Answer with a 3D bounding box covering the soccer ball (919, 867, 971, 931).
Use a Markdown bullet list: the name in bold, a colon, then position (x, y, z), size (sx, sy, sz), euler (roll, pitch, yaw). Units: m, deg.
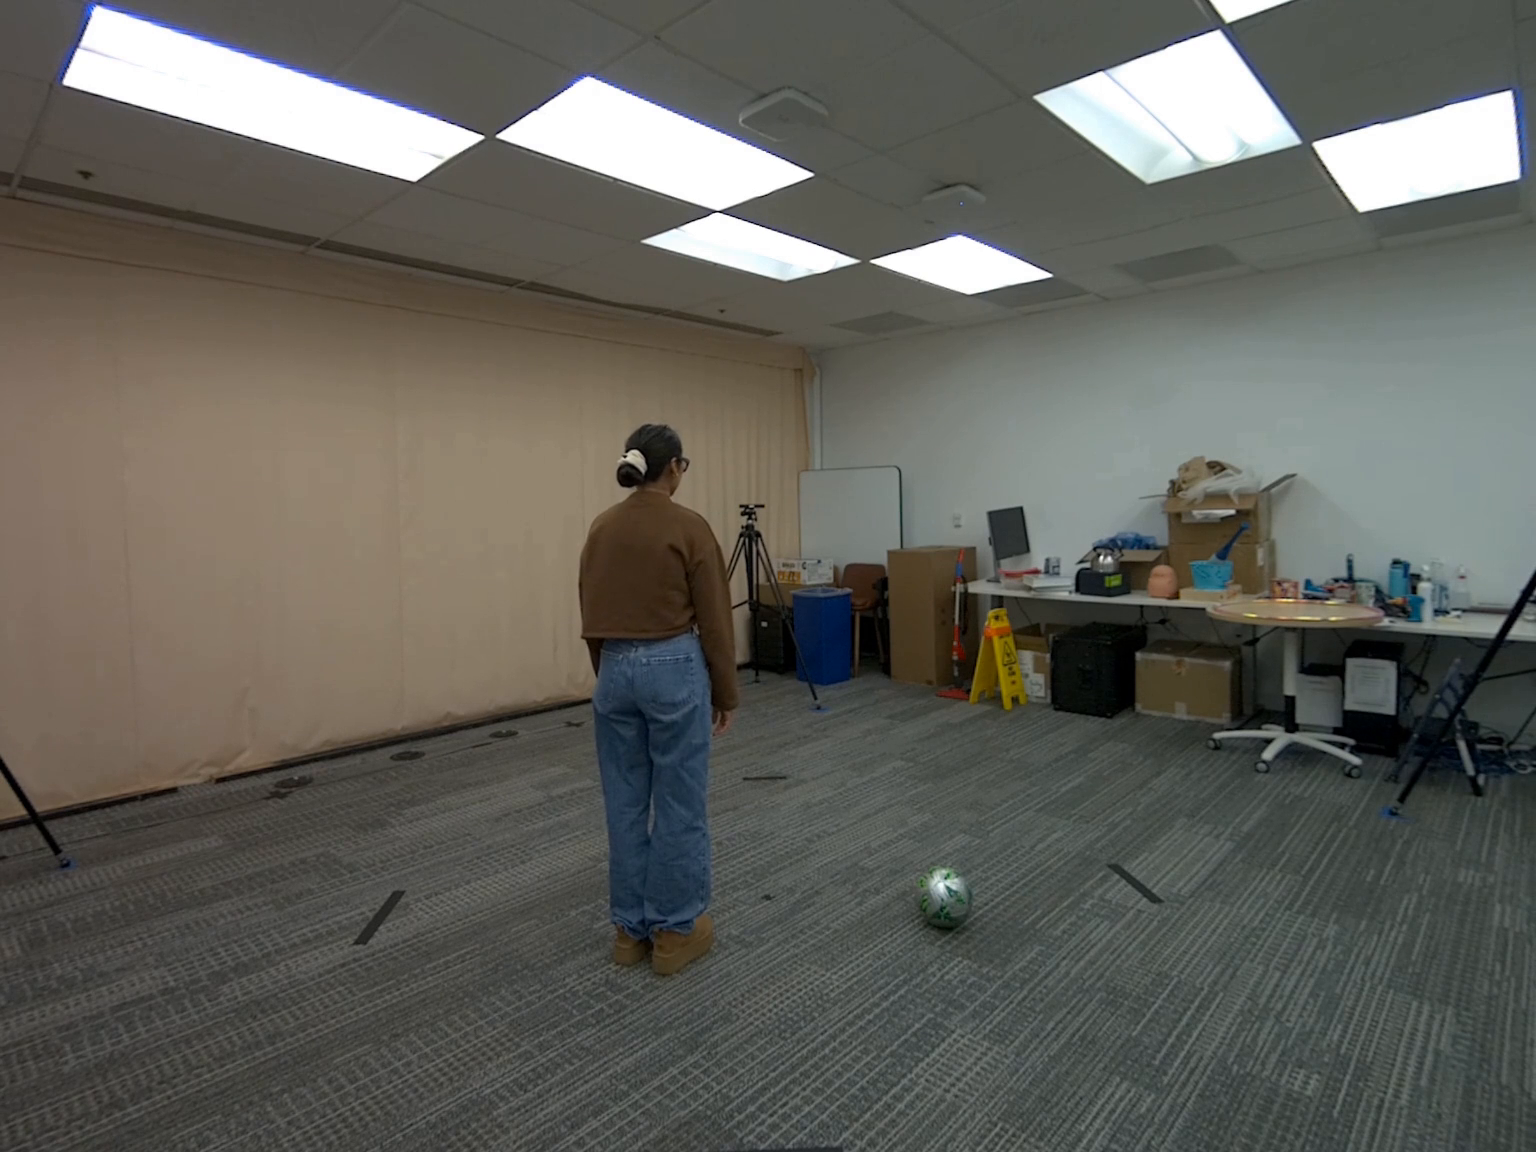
- **soccer ball**: position (0.587, 1.055, 2.765), size (0.187, 0.187, 0.188), euler (-1, 4, -2)
